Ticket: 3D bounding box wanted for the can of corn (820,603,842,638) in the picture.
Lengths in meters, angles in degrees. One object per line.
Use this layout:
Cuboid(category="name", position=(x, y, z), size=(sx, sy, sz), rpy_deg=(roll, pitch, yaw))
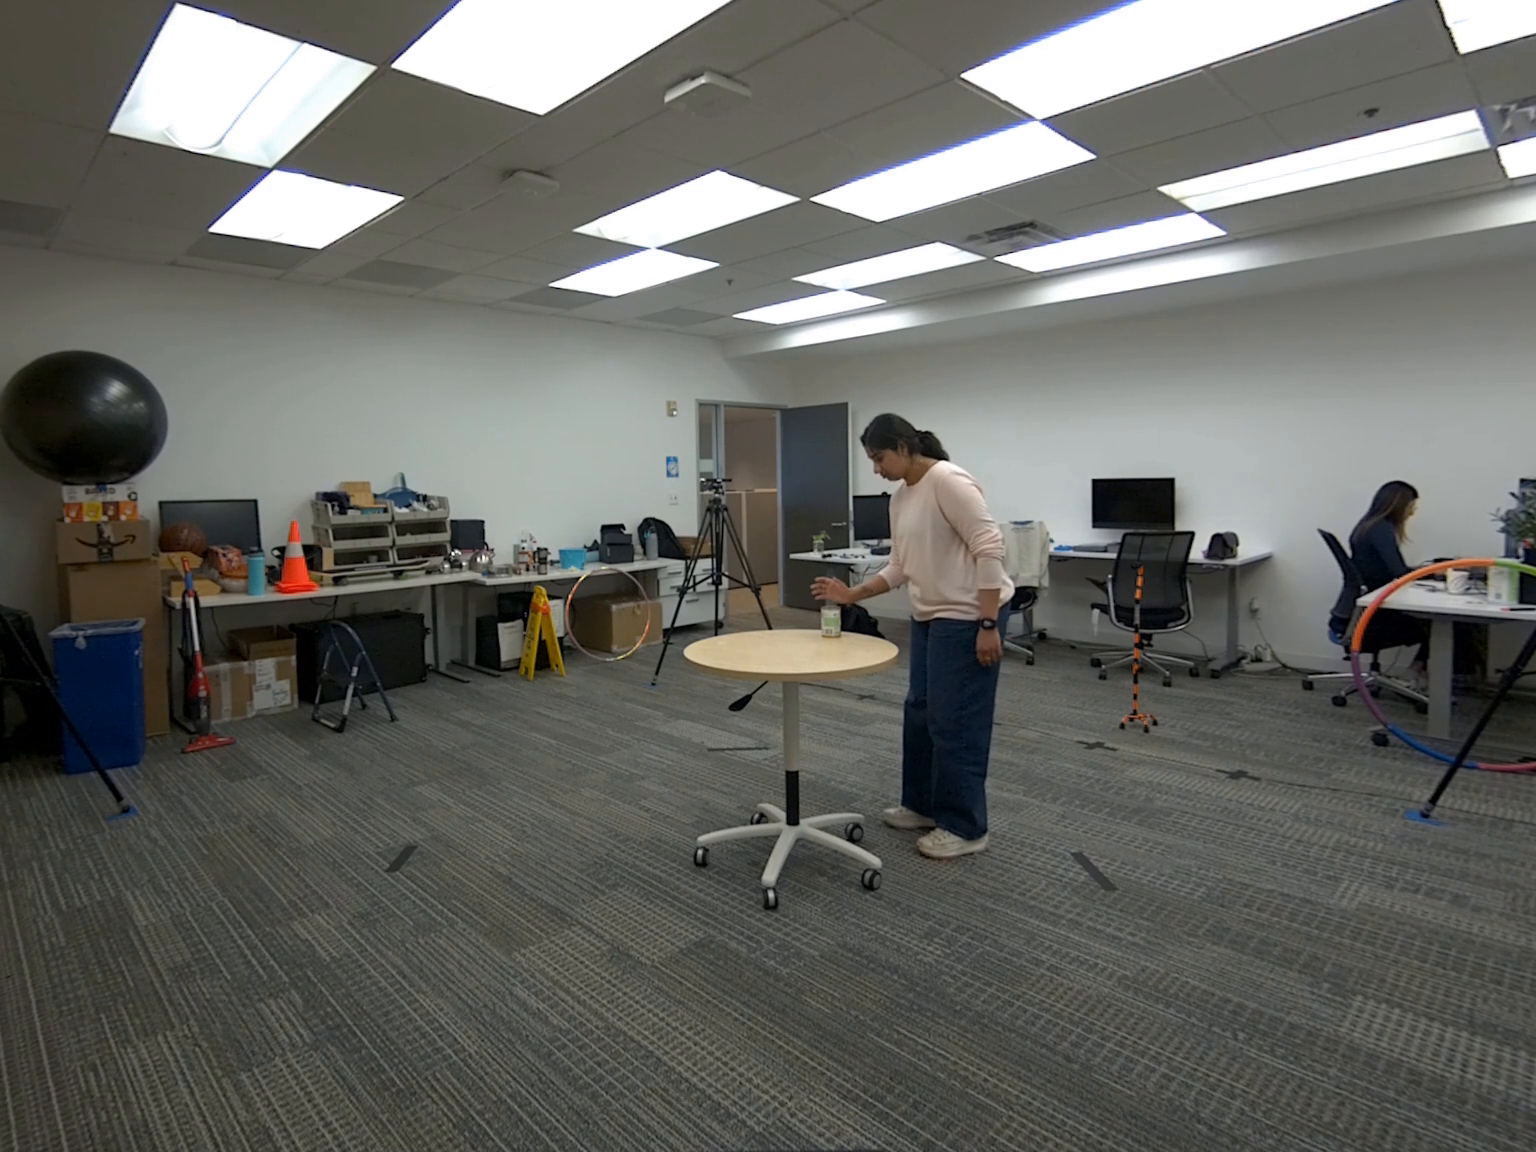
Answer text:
Cuboid(category="can of corn", position=(0.243, 0.173, 3.296), size=(0.074, 0.111, 0.074), rpy_deg=(-2, 3, -2))
